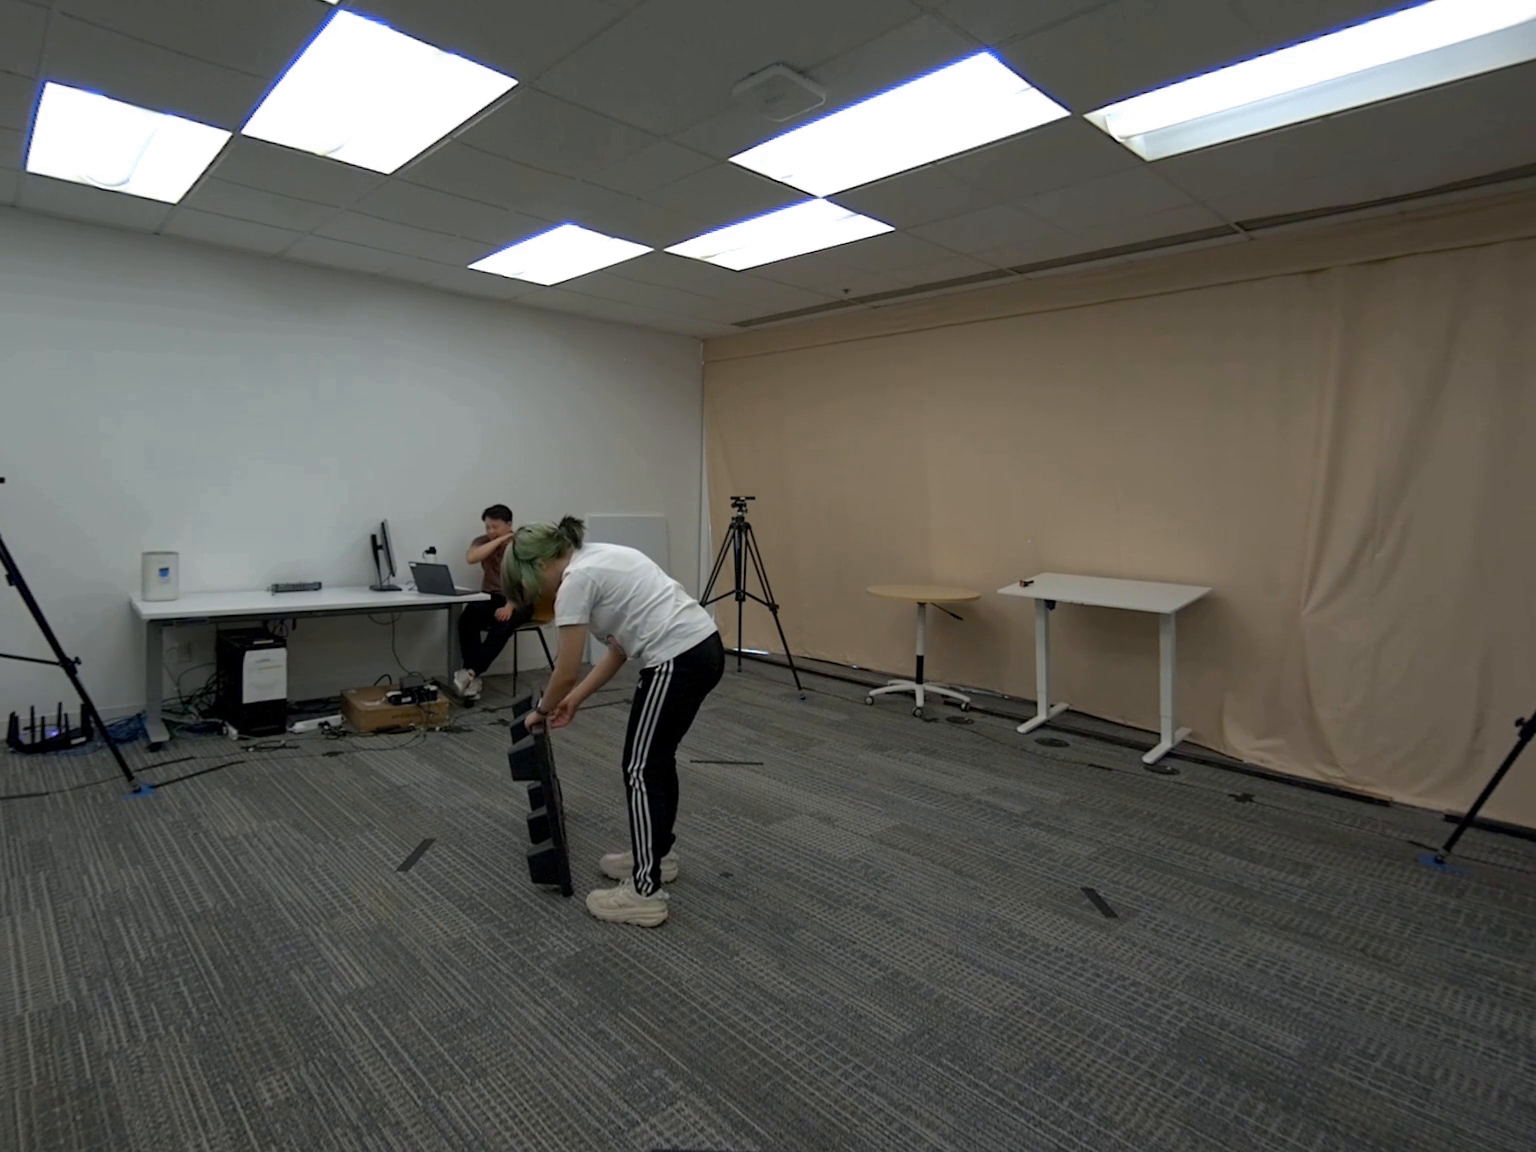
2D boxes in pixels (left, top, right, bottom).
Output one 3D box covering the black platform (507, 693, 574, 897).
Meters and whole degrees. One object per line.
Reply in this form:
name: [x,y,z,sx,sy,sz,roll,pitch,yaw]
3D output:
black platform: [-0.896,0.792,3.258,0.142,0.602,0.817,-10,7,-15]
